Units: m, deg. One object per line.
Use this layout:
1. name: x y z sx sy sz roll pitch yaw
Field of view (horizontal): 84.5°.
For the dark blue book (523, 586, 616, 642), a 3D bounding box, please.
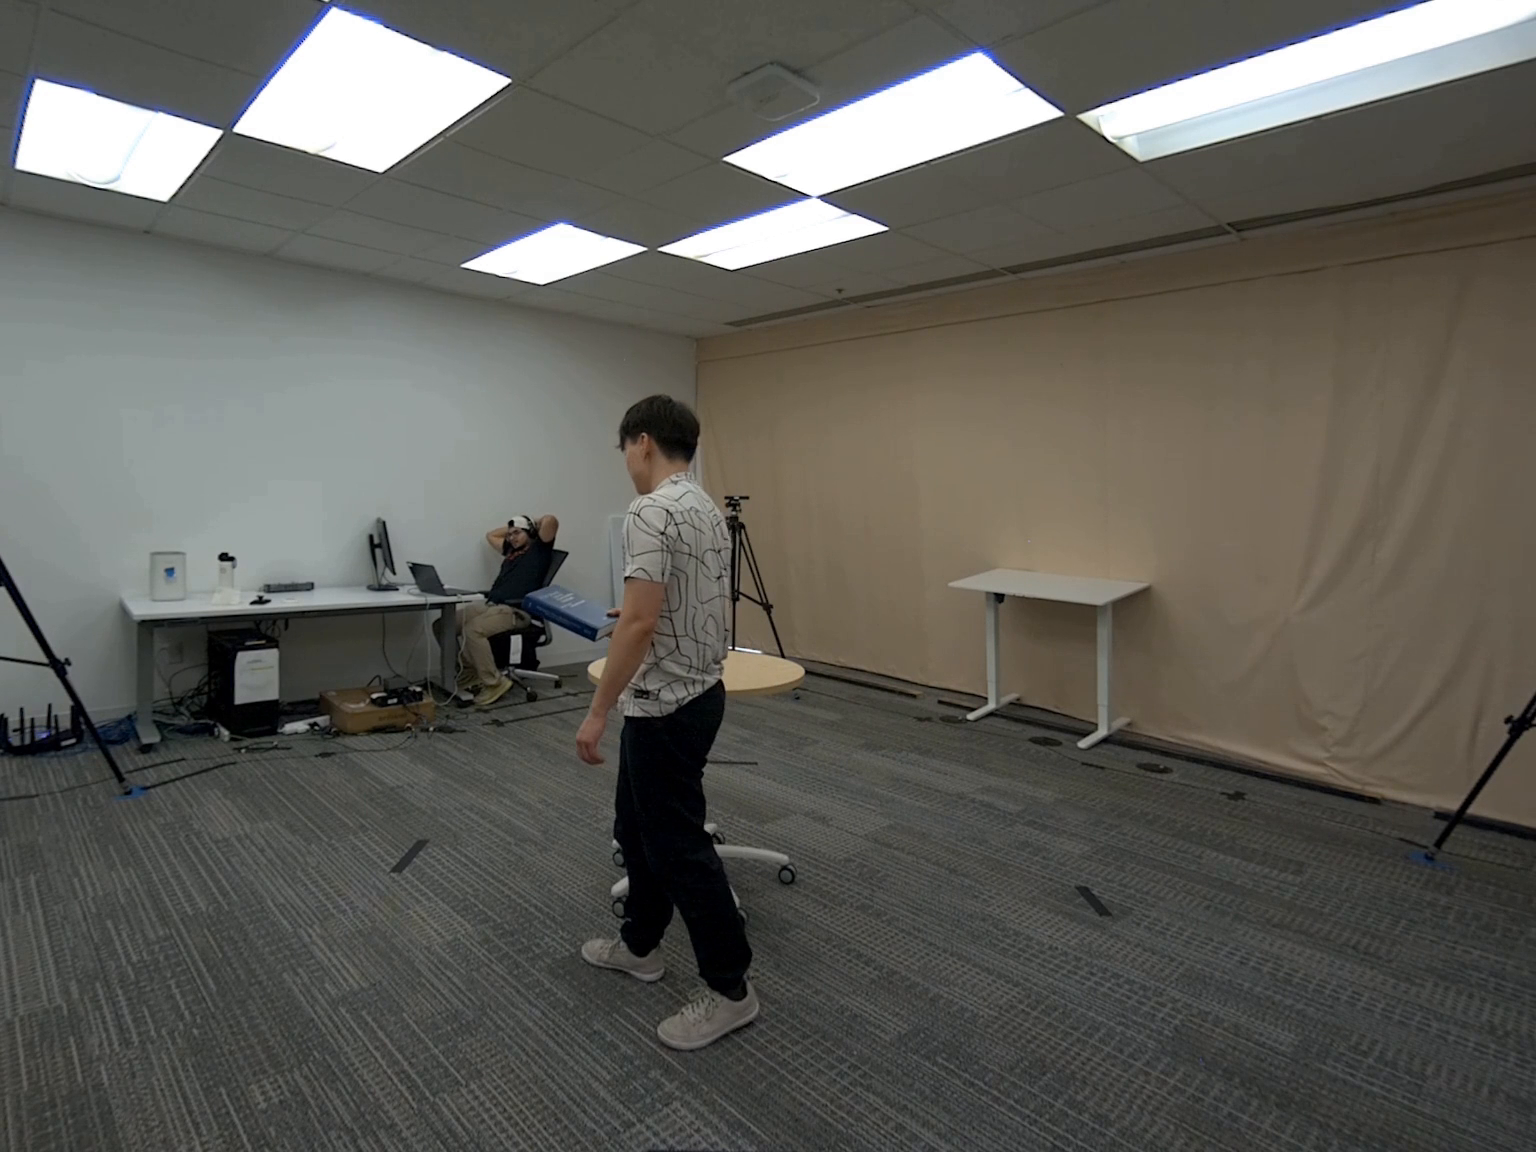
1. dark blue book: -0.564 0.102 2.456 0.248 0.045 0.162 21 18 12
